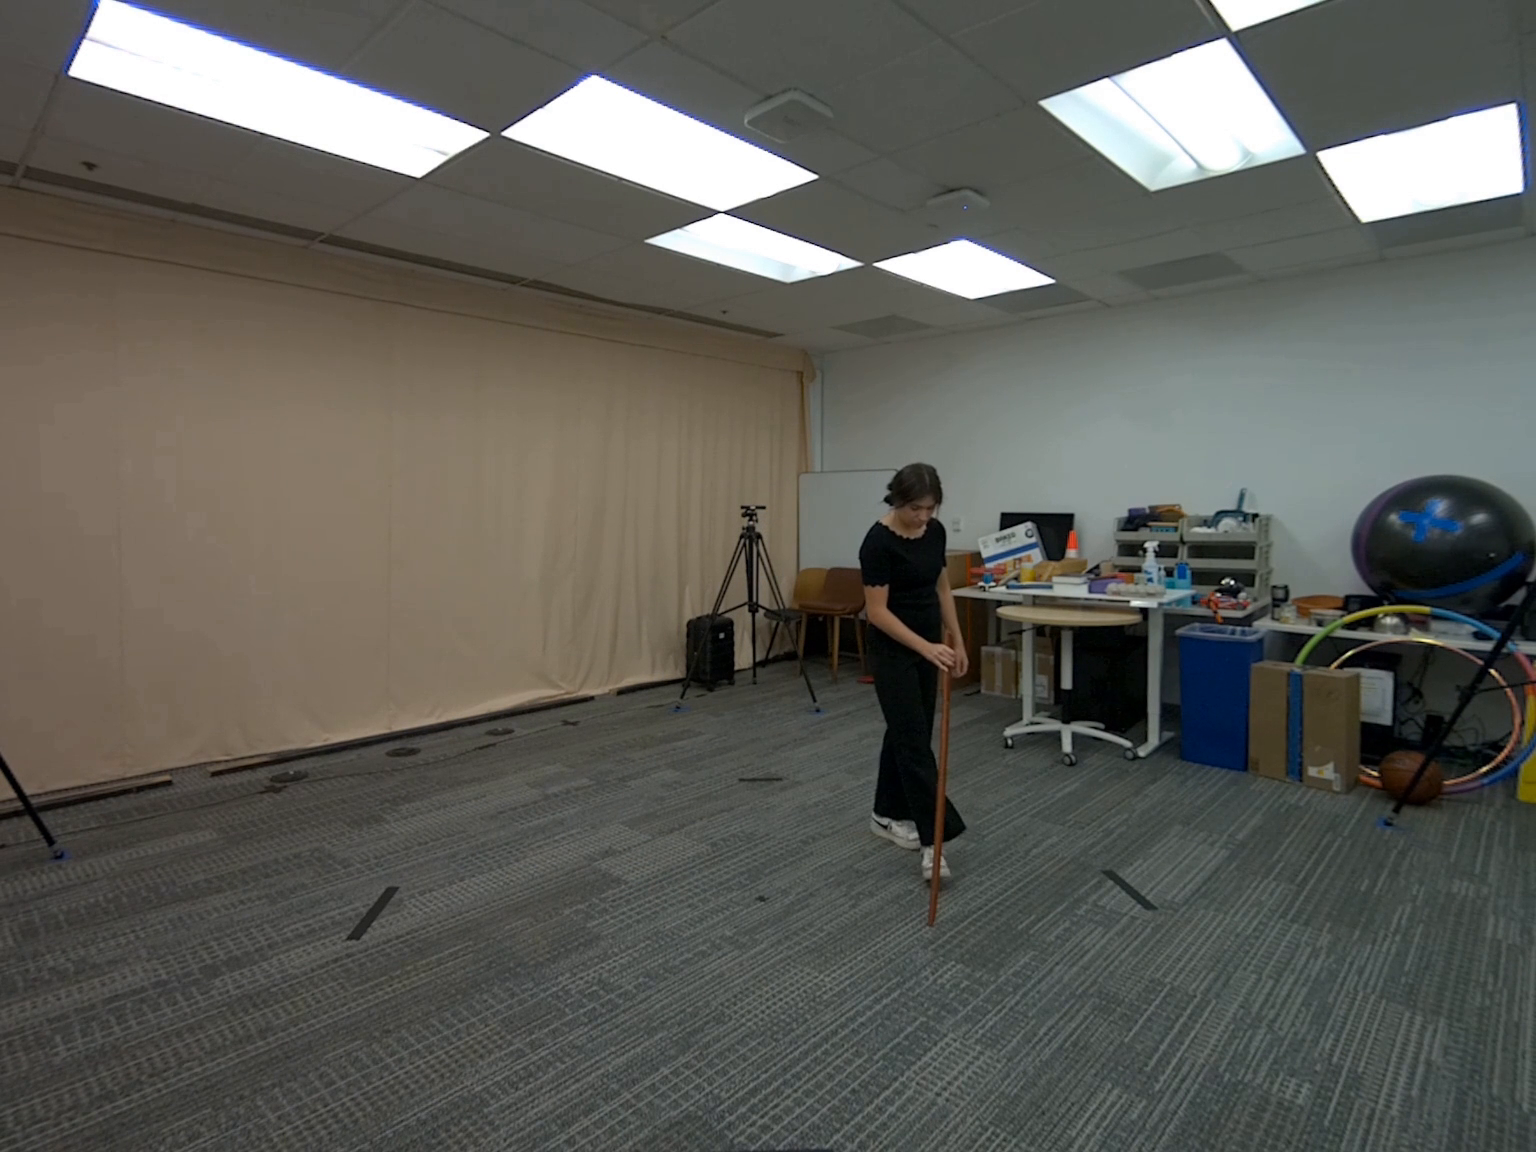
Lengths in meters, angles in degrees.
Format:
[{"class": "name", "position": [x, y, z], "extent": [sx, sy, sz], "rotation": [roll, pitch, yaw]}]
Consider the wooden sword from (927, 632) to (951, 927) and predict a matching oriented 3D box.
[{"class": "wooden sword", "position": [0.614, 0.699, 2.978], "extent": [0.050, 1.035, 0.024], "rotation": [13, -24, -13]}]
